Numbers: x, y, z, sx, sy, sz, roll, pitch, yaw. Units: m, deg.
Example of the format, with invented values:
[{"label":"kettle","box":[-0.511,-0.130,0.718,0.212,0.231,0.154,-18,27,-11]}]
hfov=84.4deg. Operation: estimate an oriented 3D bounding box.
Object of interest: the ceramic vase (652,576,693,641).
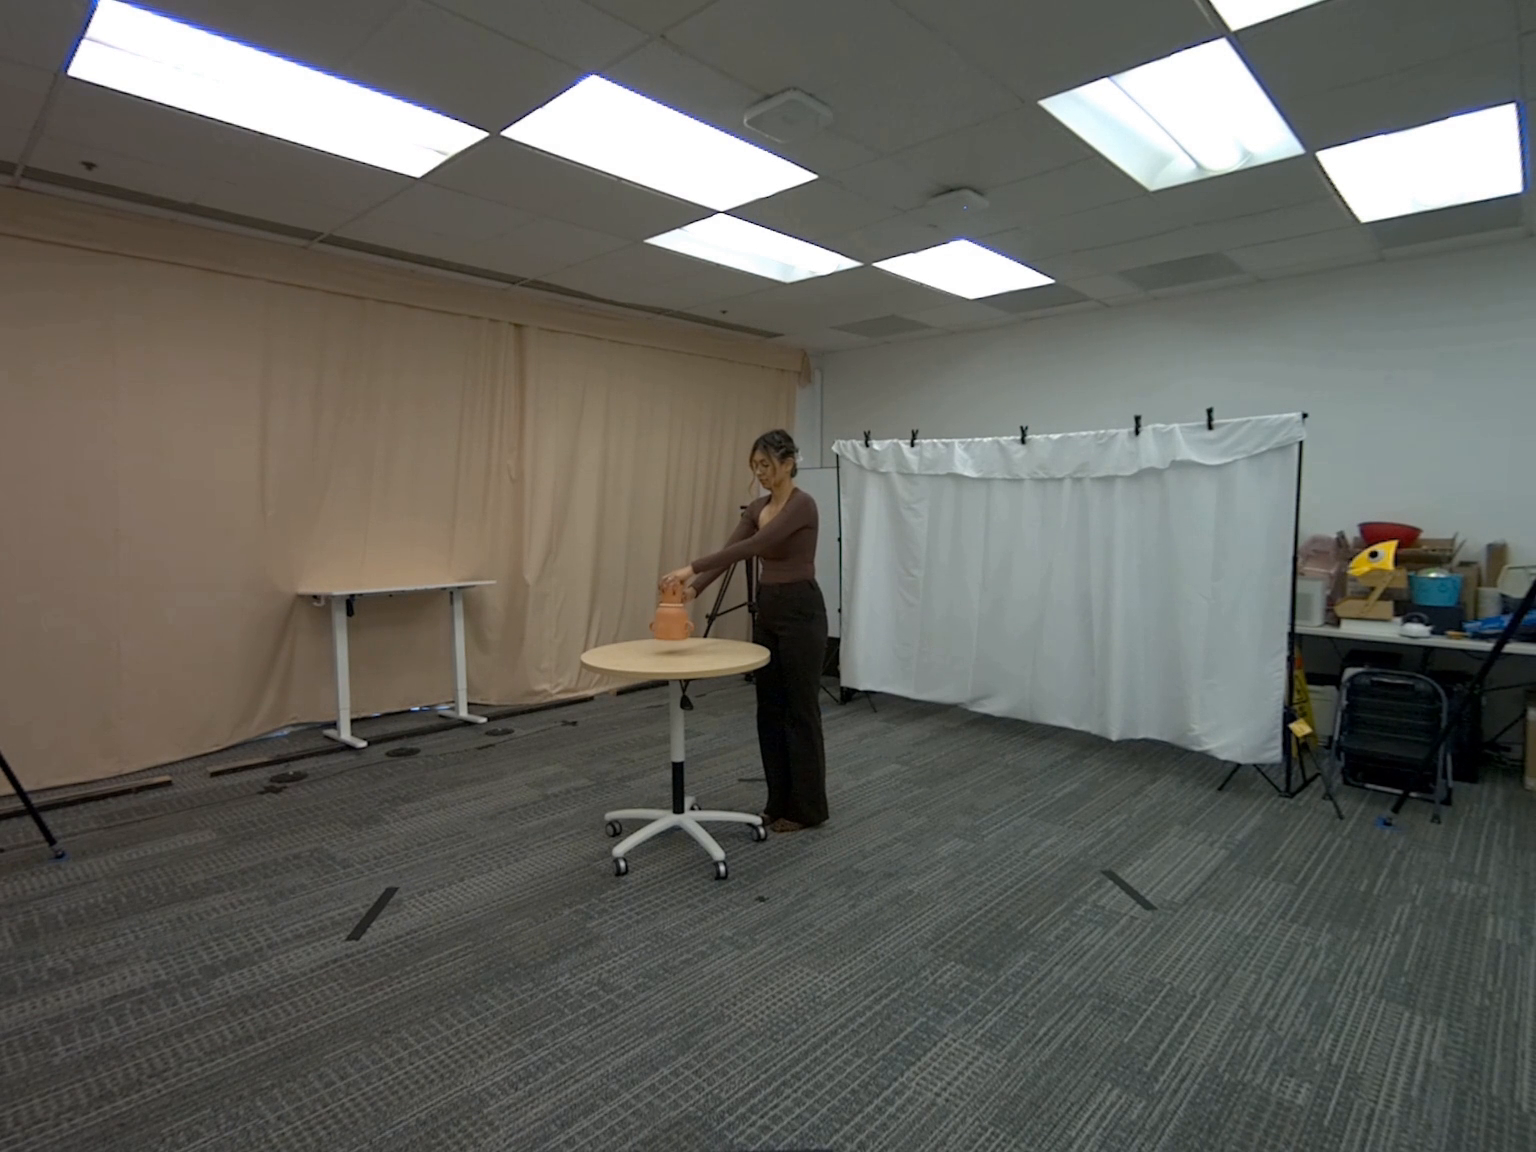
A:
[{"label":"ceramic vase","box":[-0.387,0.145,3.408,0.156,0.220,0.137,2,-2,-20]}]
